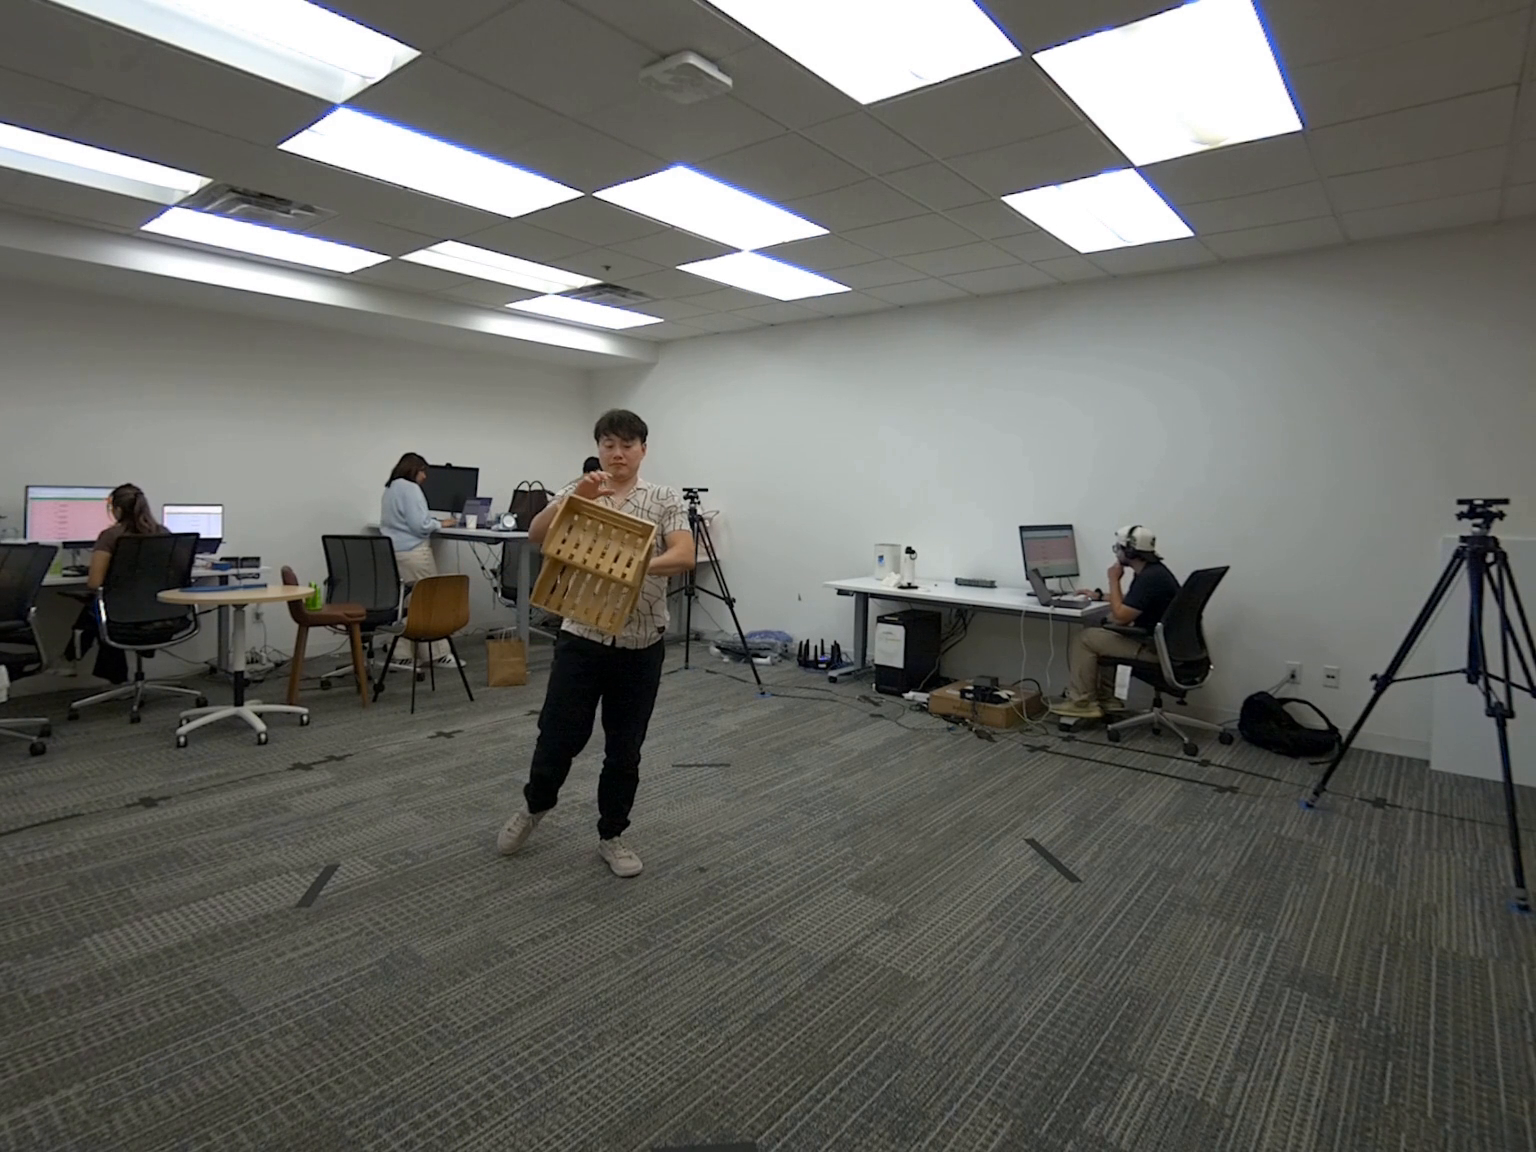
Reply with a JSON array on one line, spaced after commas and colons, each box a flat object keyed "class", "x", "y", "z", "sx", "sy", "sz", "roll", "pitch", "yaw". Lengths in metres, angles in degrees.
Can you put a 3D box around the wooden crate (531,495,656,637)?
[{"class": "wooden crate", "x": -0.558, "y": -0.029, "z": 2.659, "sx": 0.325, "sy": 0.307, "sz": 0.269, "roll": 19, "pitch": -35, "yaw": 0}]
